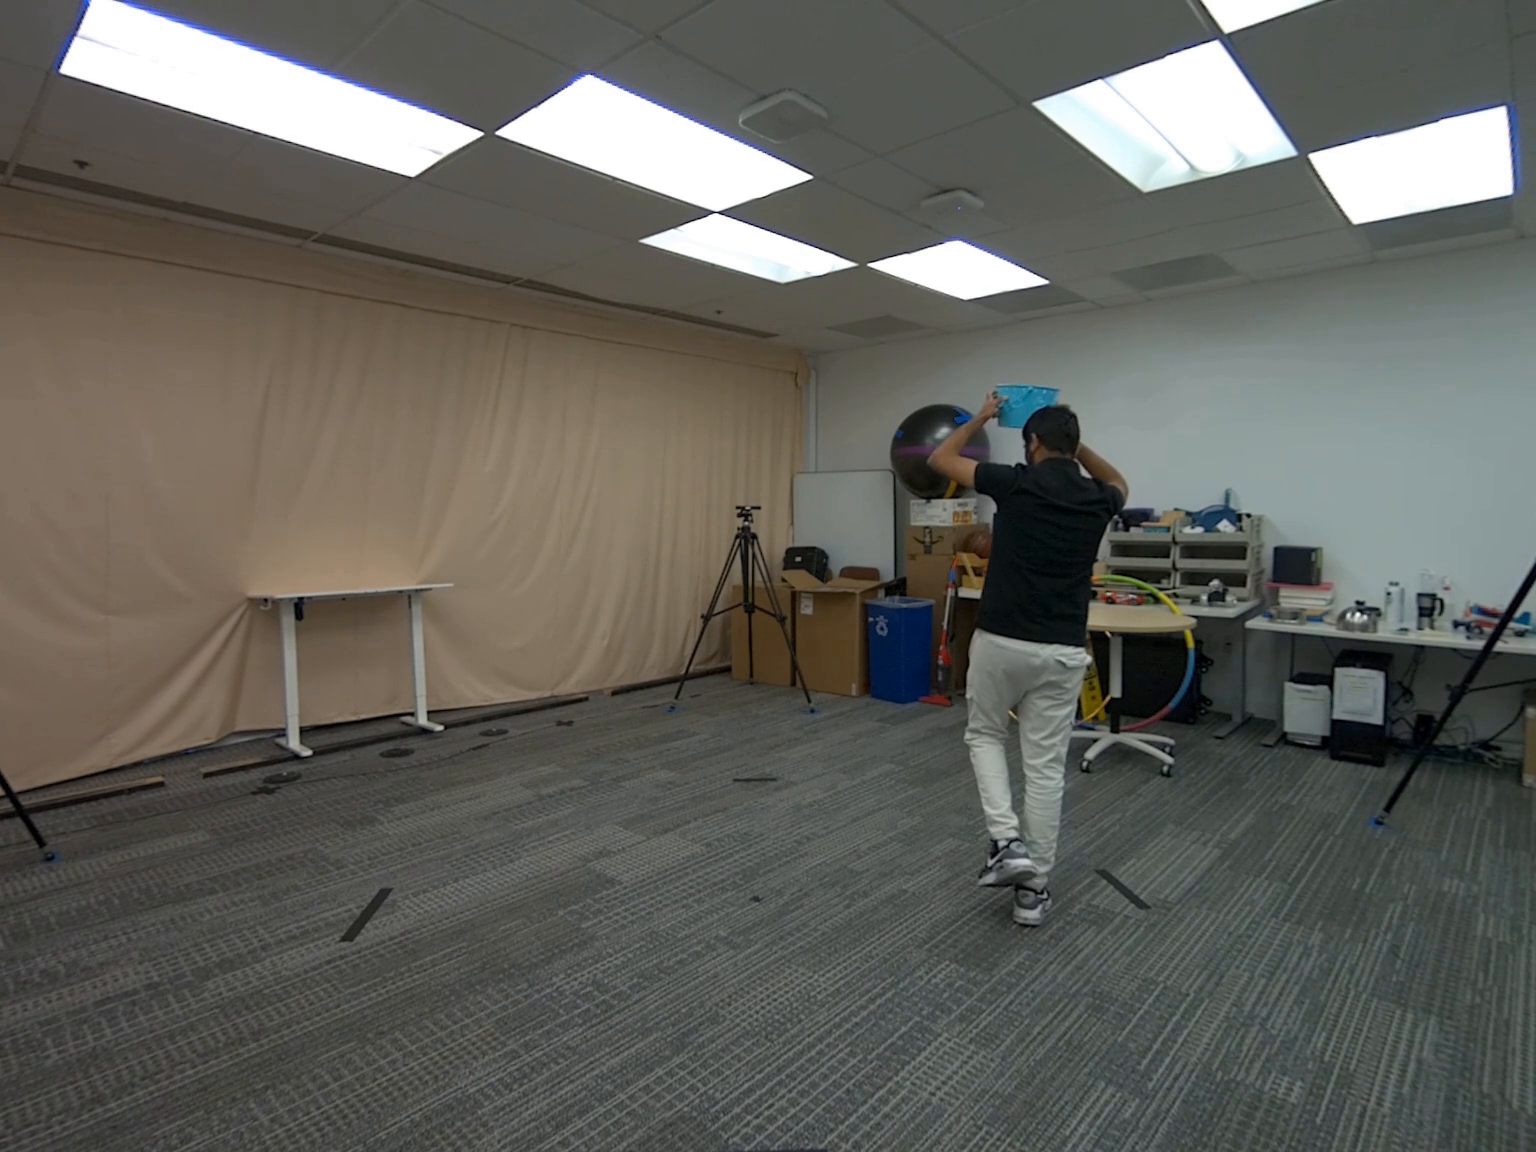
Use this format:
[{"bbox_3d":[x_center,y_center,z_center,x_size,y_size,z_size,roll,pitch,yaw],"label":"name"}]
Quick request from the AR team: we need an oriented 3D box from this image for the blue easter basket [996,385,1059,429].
[{"bbox_3d":[0.987,-0.640,3.192,0.243,0.155,0.245,3,9,-2],"label":"blue easter basket"}]
